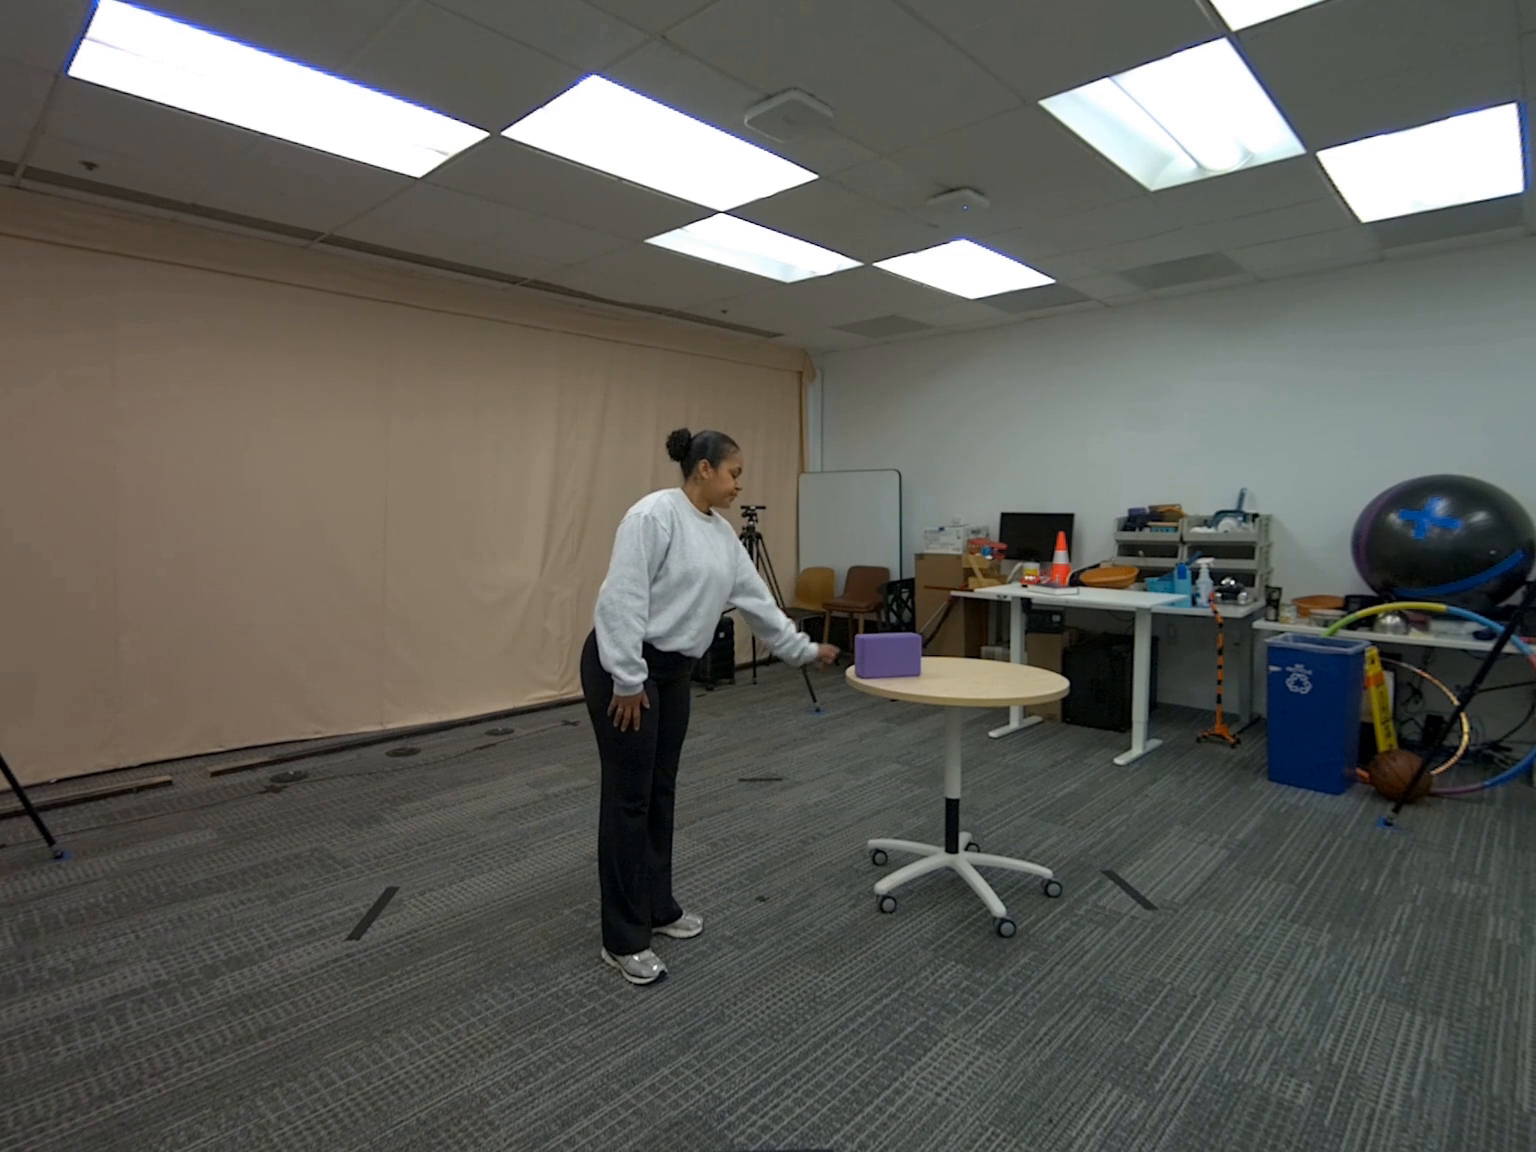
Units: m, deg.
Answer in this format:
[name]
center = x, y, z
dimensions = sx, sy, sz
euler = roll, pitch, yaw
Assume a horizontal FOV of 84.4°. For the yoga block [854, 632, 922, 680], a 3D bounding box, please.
[yoga block]
center = 0.438, 0.282, 2.992
dimensions = 0.226, 0.148, 0.077
euler = 0, 4, -12
